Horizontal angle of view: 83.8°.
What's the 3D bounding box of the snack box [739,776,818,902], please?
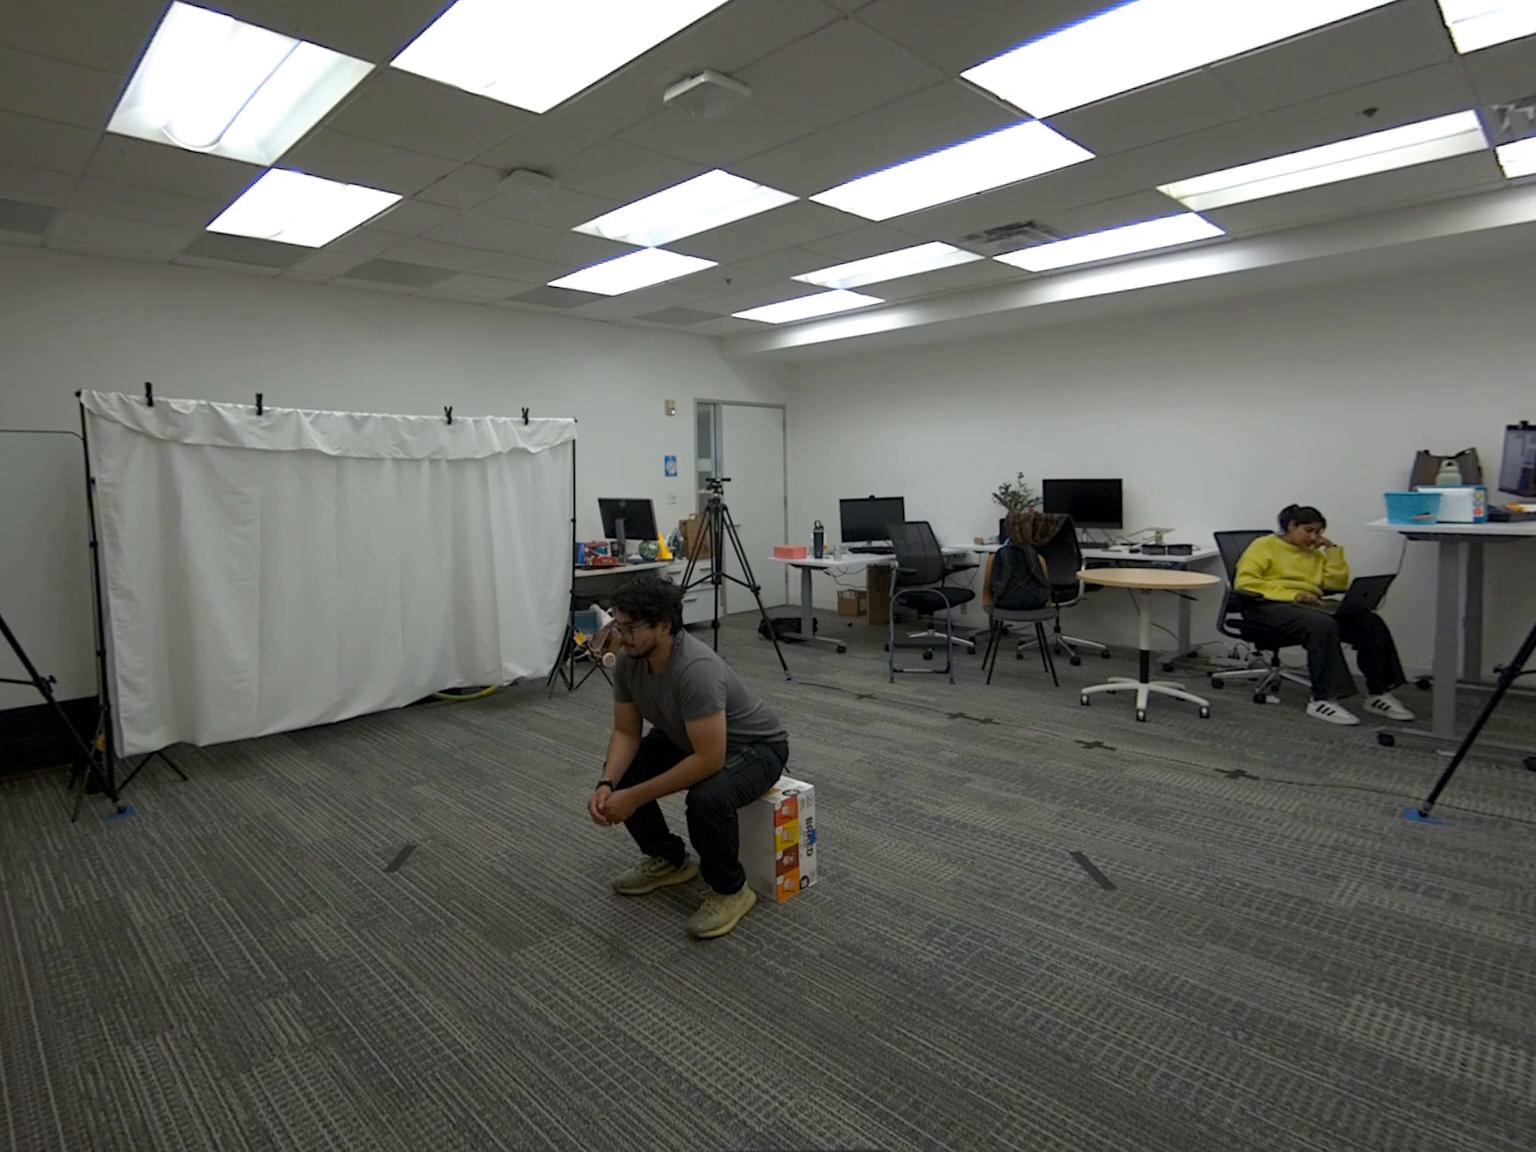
[{"bbox_3d":[-0.044,0.885,3.017,0.200,0.339,0.417,-6,6,-45],"label":"snack box"}]
